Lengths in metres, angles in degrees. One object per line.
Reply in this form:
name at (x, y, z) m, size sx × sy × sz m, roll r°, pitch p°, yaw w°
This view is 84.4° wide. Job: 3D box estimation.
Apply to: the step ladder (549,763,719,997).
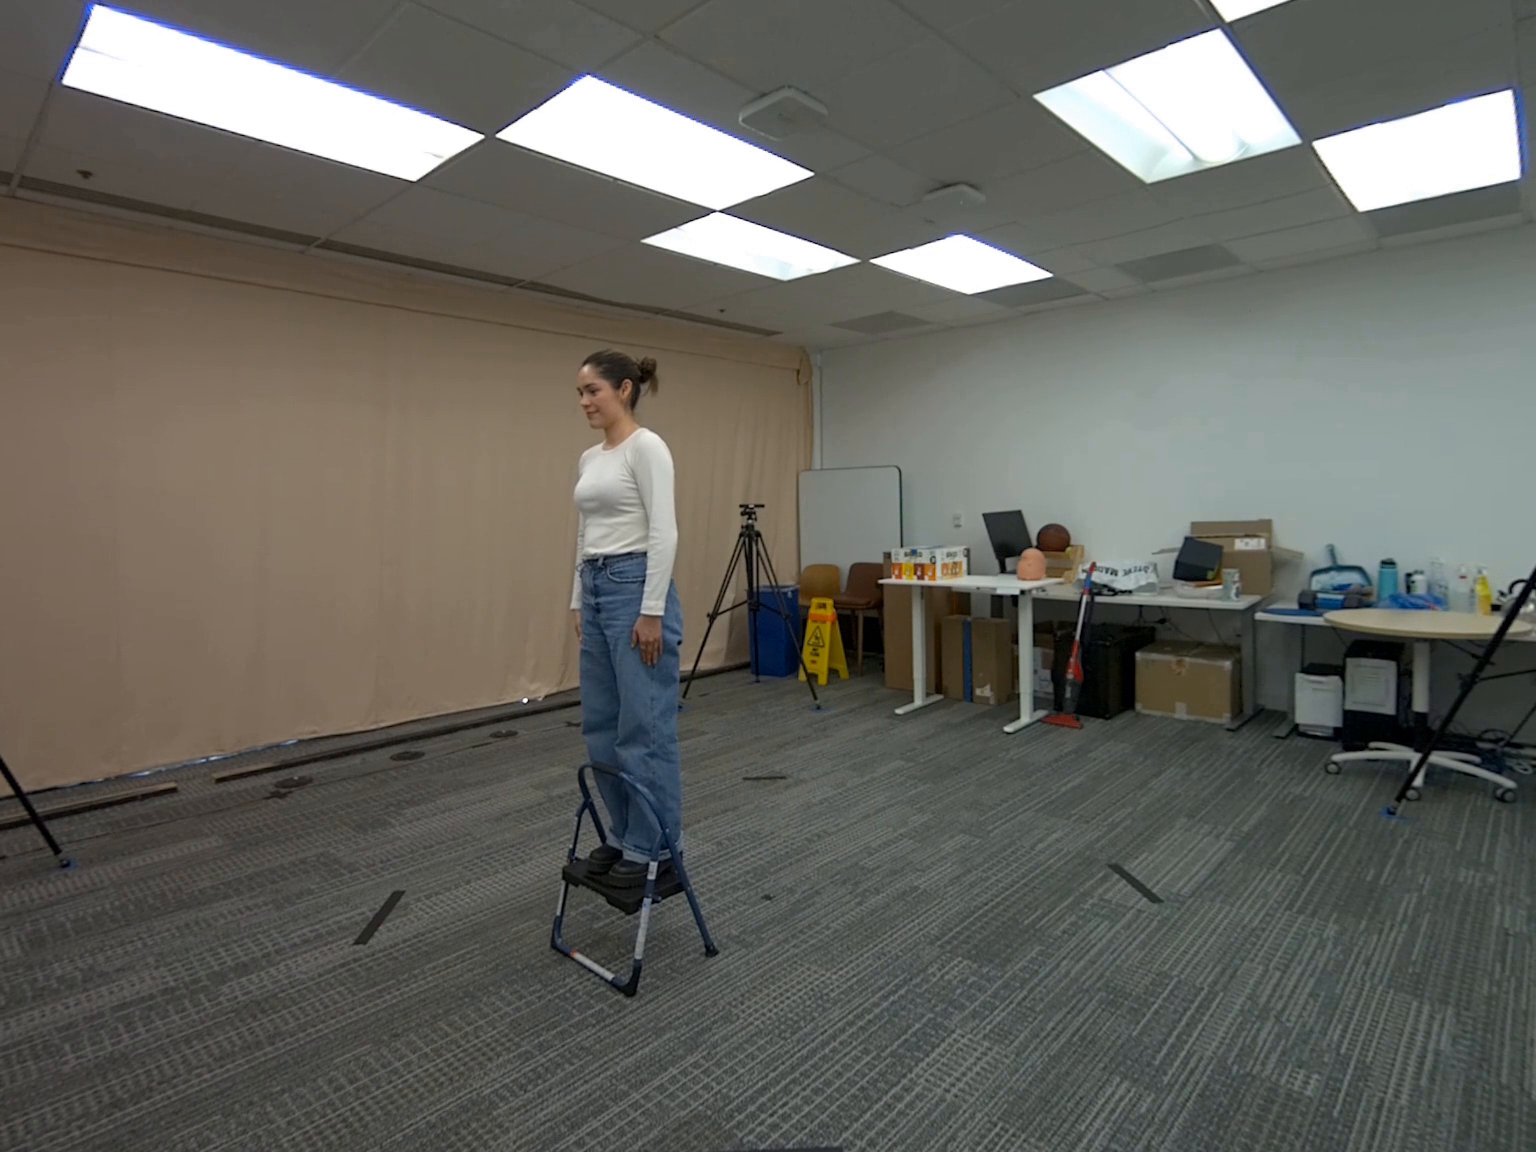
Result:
step ladder at (-0.430, 0.876, 2.637) m, size 0.445 × 0.605 × 0.339 m, roll 2°, pitch 4°, yaw 43°
